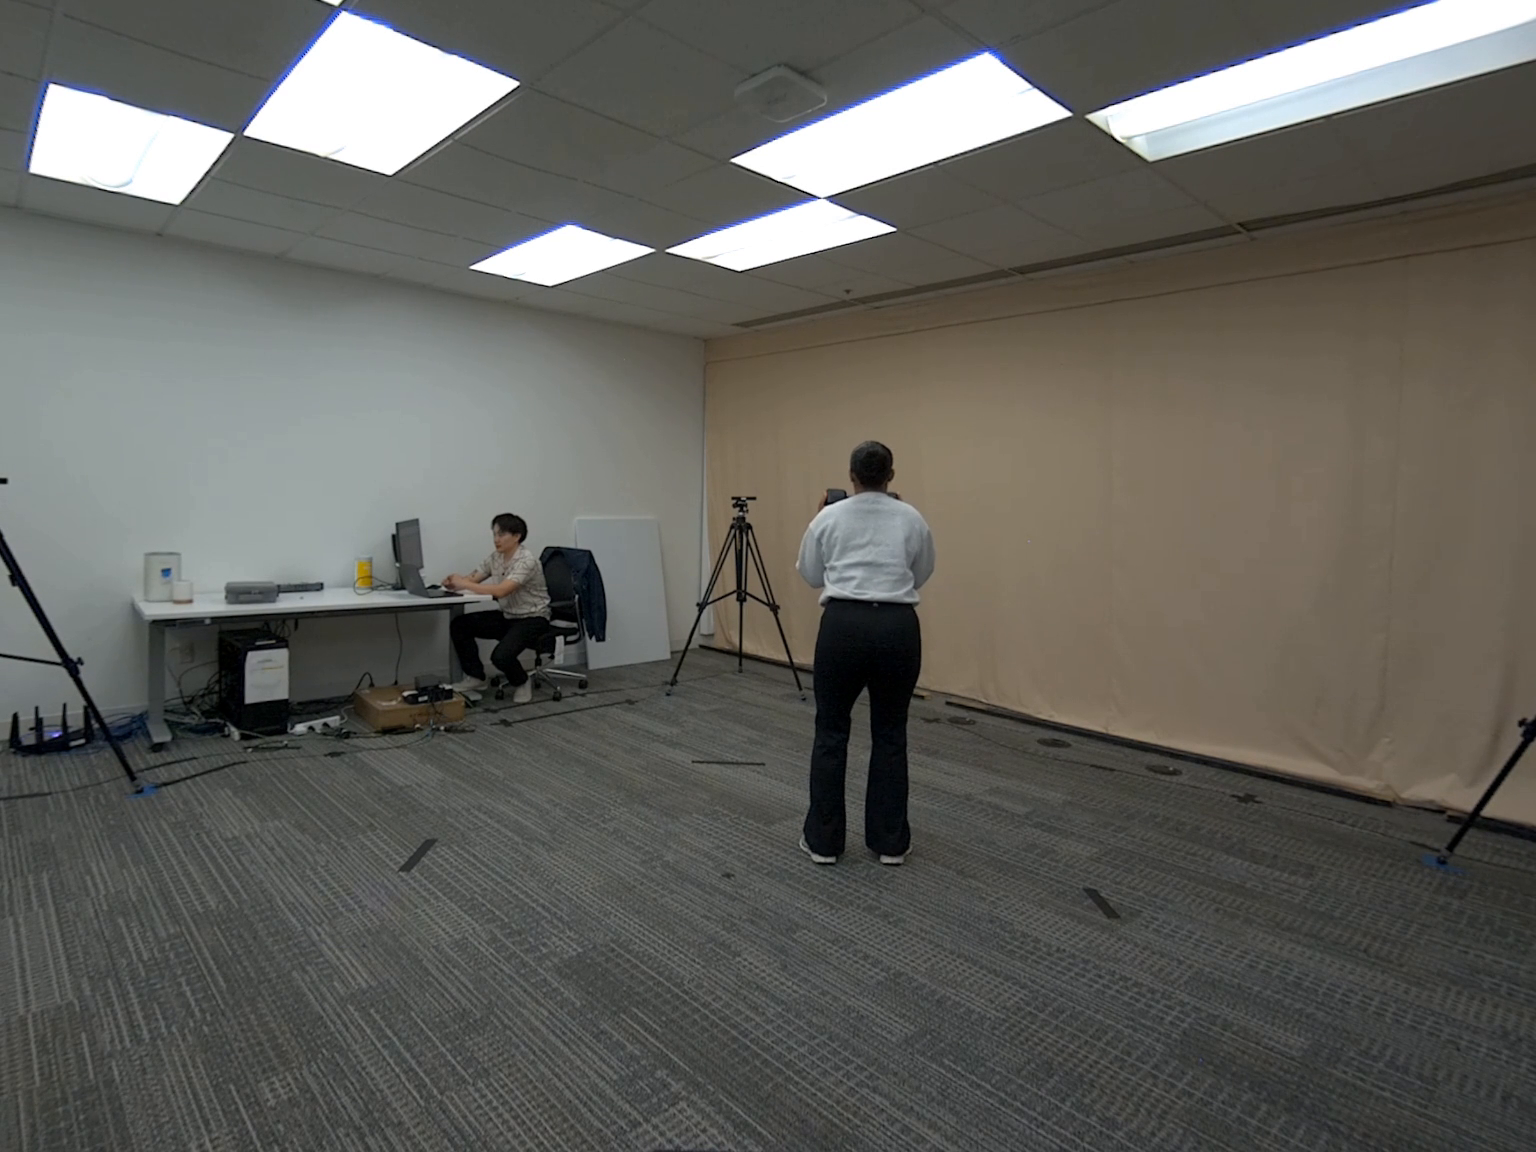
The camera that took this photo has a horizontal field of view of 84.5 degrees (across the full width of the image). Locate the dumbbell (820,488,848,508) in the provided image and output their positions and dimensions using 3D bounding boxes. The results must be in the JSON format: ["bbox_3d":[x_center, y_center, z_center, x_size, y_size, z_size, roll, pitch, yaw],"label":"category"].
[{"bbox_3d":[0.389,-0.286,3.475,0.293,0.120,0.111,4,38,-2],"label":"dumbbell"}]
